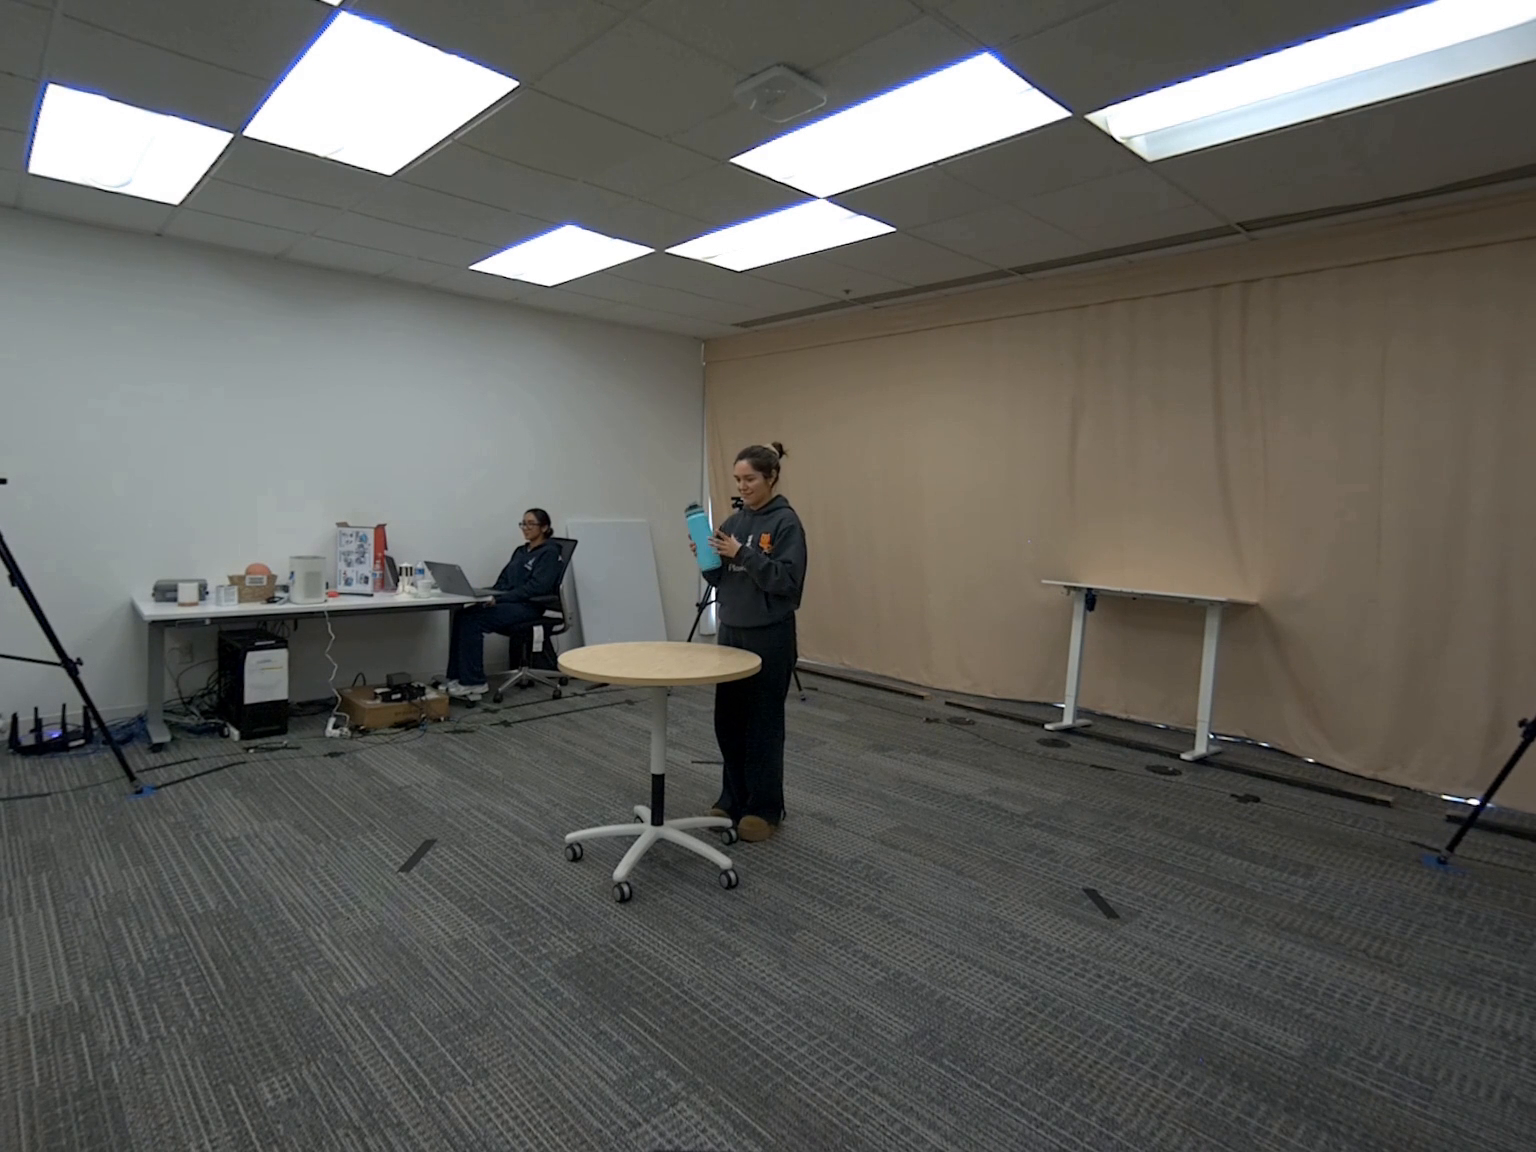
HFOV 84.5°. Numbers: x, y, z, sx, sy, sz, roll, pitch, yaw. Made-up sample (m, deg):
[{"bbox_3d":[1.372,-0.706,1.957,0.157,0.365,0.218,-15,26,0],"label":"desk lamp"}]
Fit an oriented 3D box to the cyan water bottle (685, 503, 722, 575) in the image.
[{"bbox_3d":[-0.280,-0.156,3.434,0.092,0.285,0.092,-16,-7,-3],"label":"cyan water bottle"}]
